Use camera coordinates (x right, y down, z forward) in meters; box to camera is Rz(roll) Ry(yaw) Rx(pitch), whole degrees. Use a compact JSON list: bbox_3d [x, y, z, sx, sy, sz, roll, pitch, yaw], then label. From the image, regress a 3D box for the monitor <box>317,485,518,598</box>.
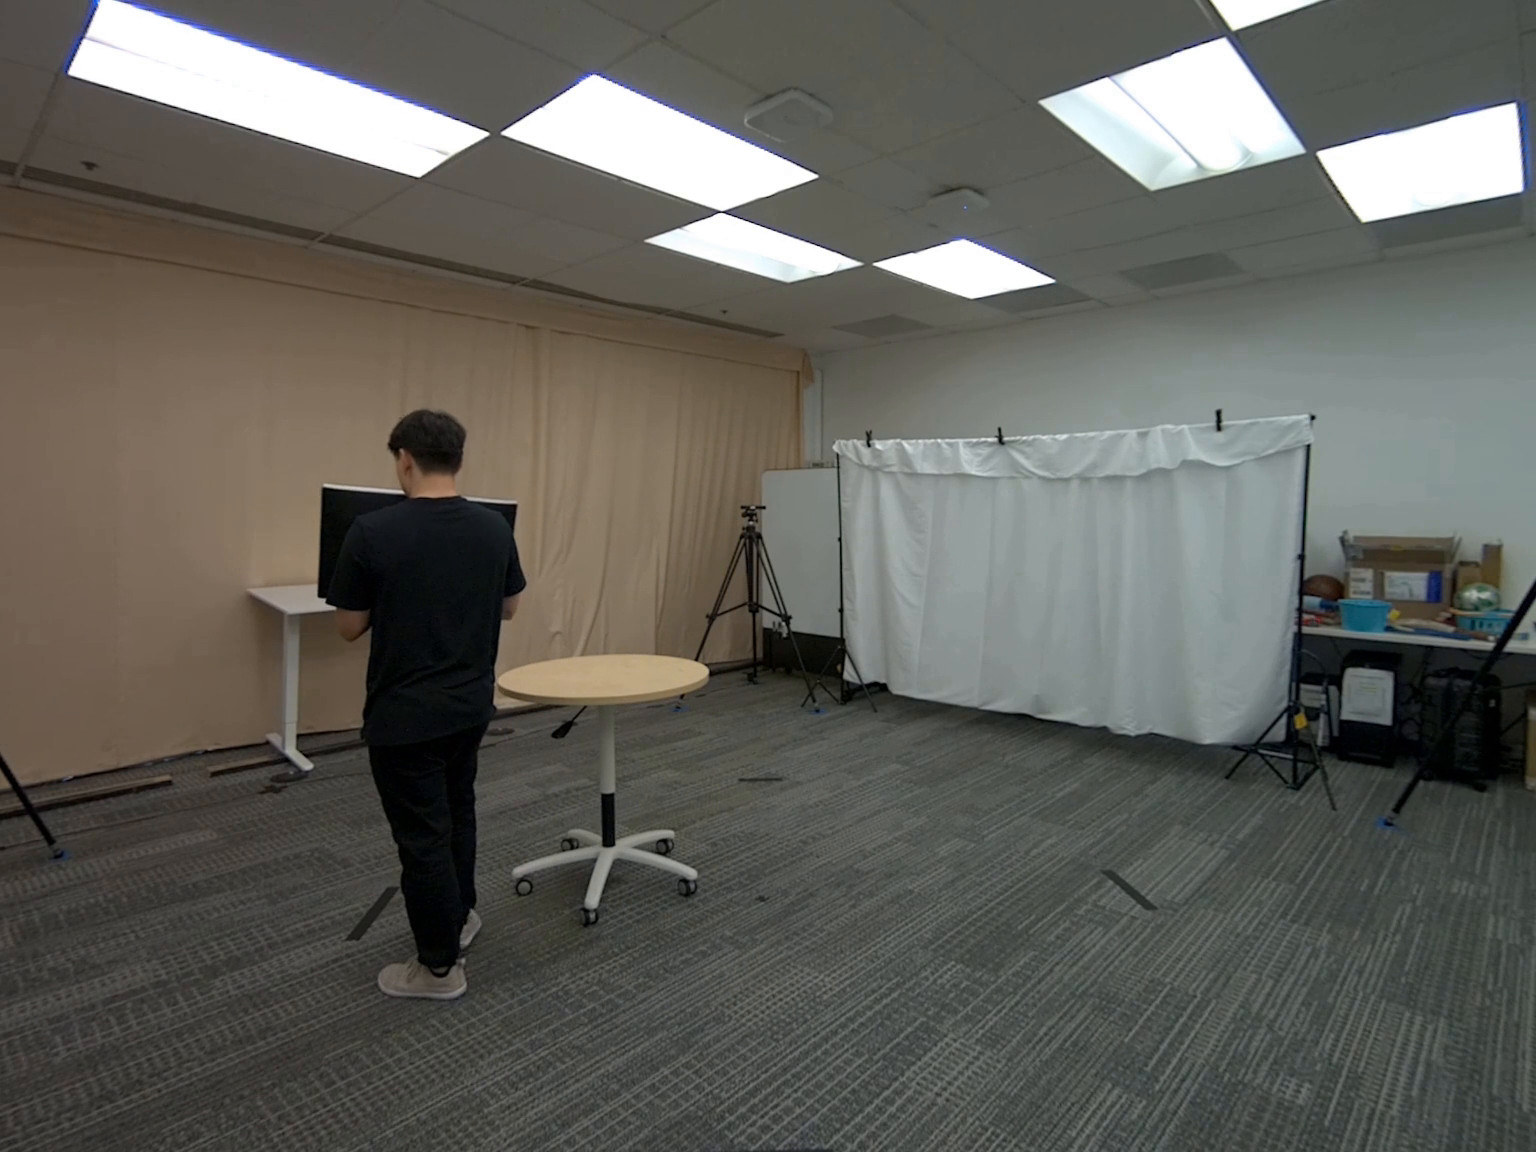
[{"bbox_3d":[-1.085,0.012,2.566,0.526,0.520,0.192,4,10,-25],"label":"monitor"}]
